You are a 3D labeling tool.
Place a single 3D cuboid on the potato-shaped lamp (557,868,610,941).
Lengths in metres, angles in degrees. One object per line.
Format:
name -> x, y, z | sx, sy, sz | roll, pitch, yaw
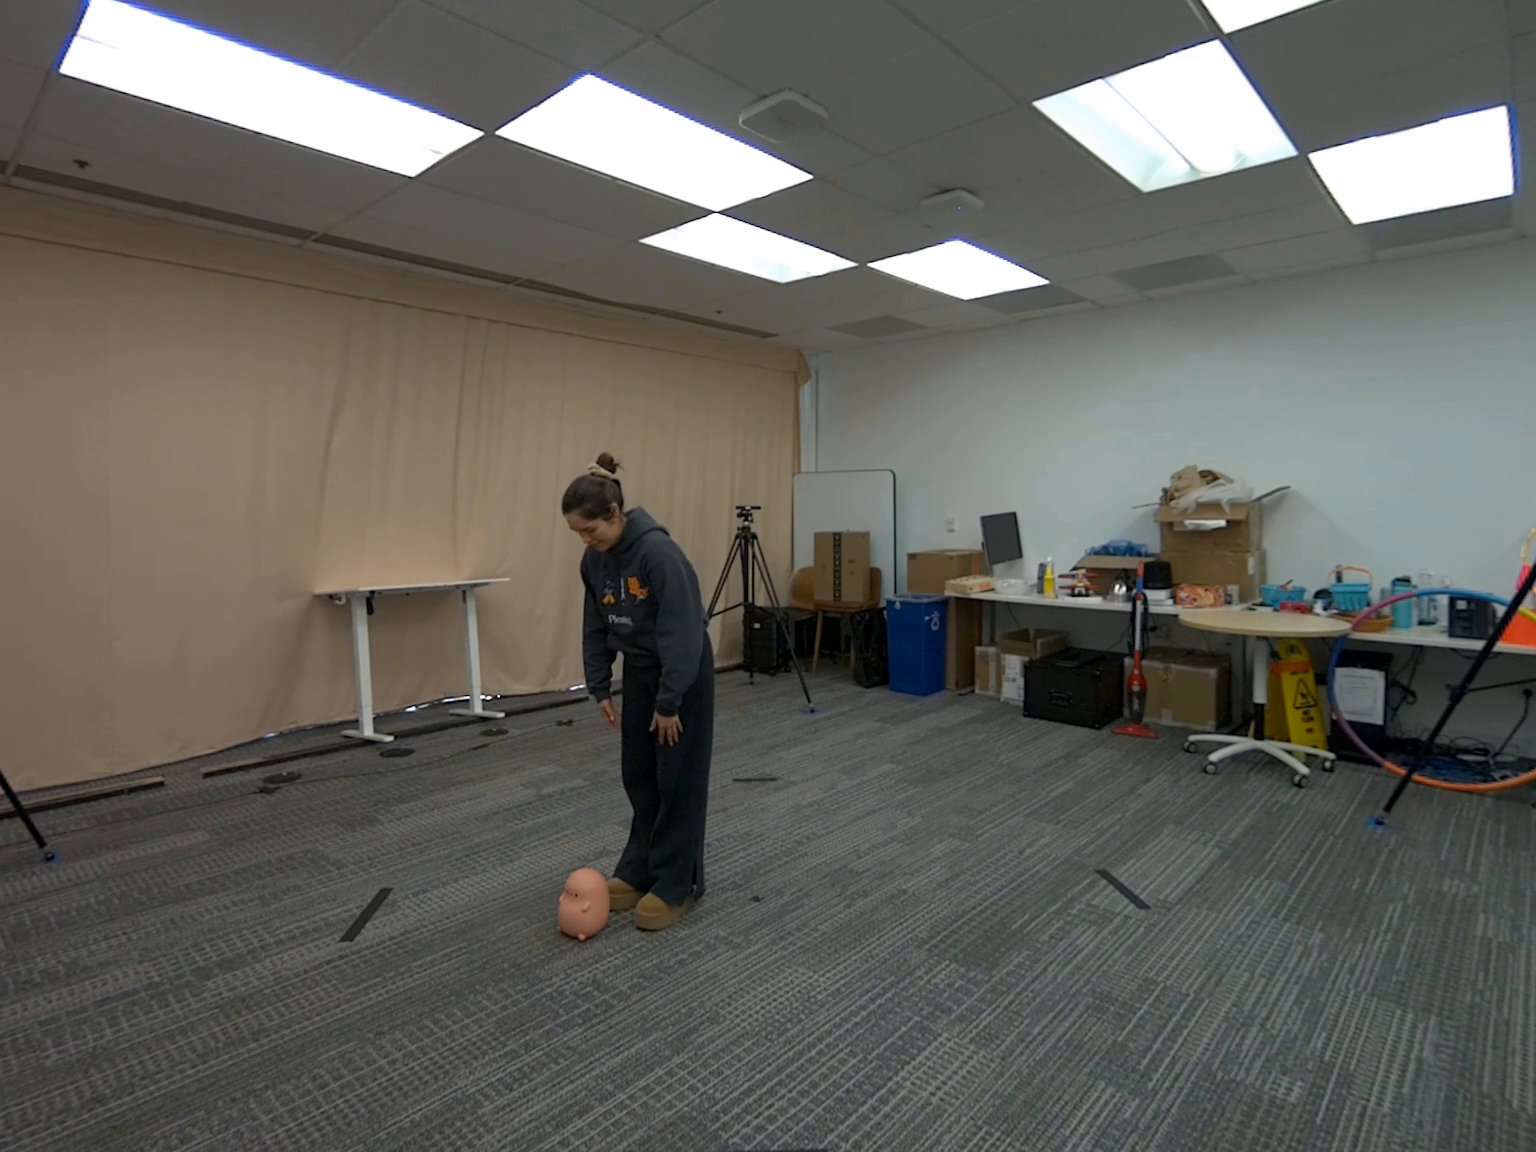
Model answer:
potato-shaped lamp -> -0.581, 1.069, 2.770 | 0.170, 0.198, 0.166 | 2, 2, 38
